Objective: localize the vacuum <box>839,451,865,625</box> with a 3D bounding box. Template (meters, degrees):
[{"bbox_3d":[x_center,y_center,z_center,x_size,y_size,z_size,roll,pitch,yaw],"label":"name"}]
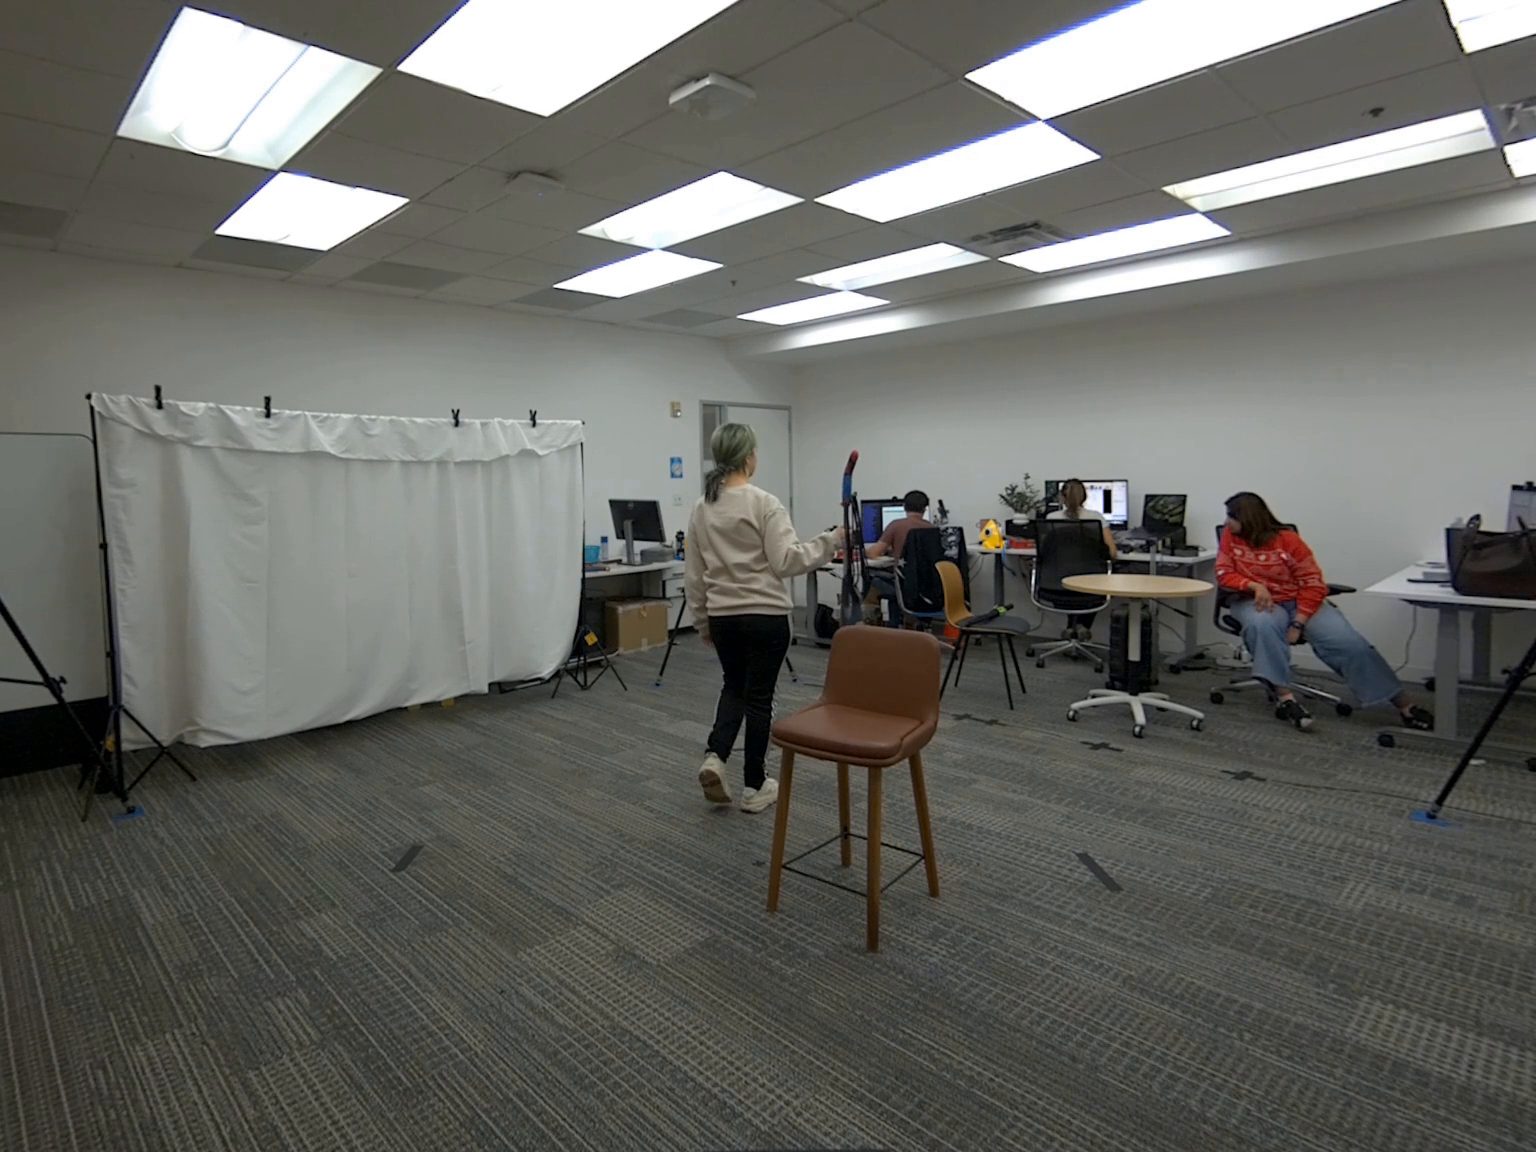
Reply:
[{"bbox_3d":[0.346,0.010,3.484,0.247,1.034,0.149,-8,19,-28],"label":"vacuum"}]
